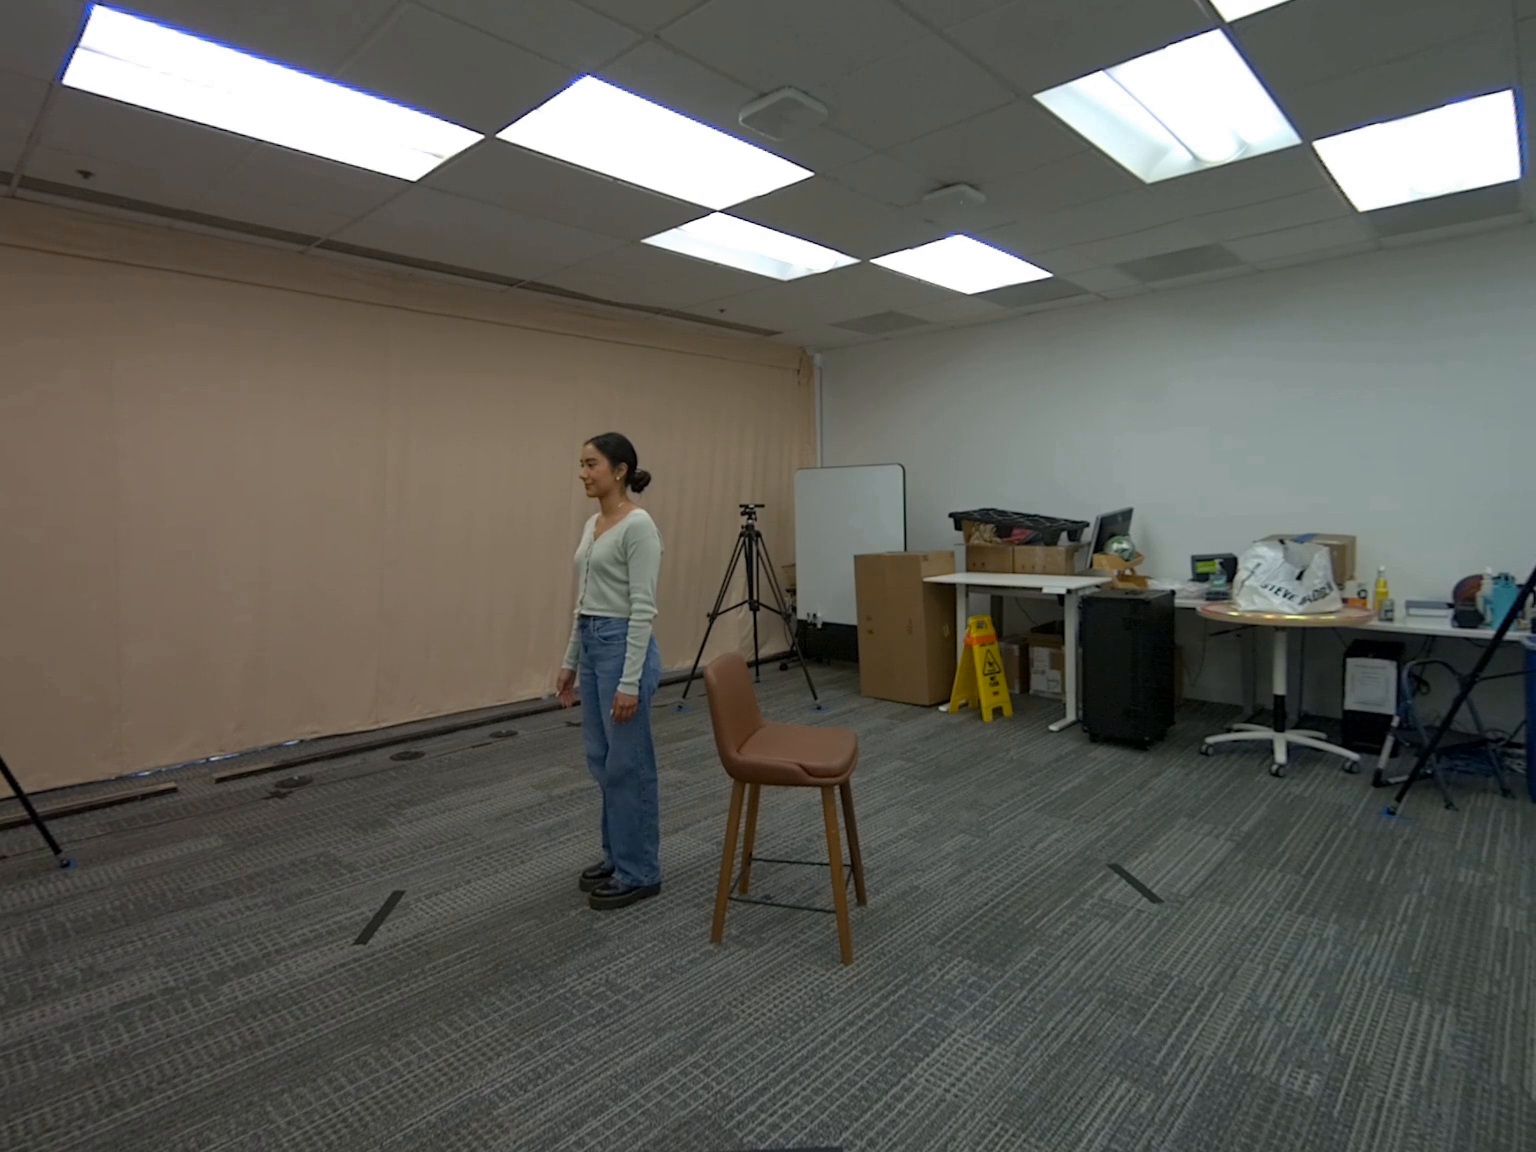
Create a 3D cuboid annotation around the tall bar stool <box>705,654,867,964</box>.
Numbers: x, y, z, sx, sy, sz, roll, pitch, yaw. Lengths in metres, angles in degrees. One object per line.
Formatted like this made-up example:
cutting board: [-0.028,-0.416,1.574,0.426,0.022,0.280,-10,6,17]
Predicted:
tall bar stool: [0.062,0.716,2.771,0.476,0.888,0.449,-3,3,16]
